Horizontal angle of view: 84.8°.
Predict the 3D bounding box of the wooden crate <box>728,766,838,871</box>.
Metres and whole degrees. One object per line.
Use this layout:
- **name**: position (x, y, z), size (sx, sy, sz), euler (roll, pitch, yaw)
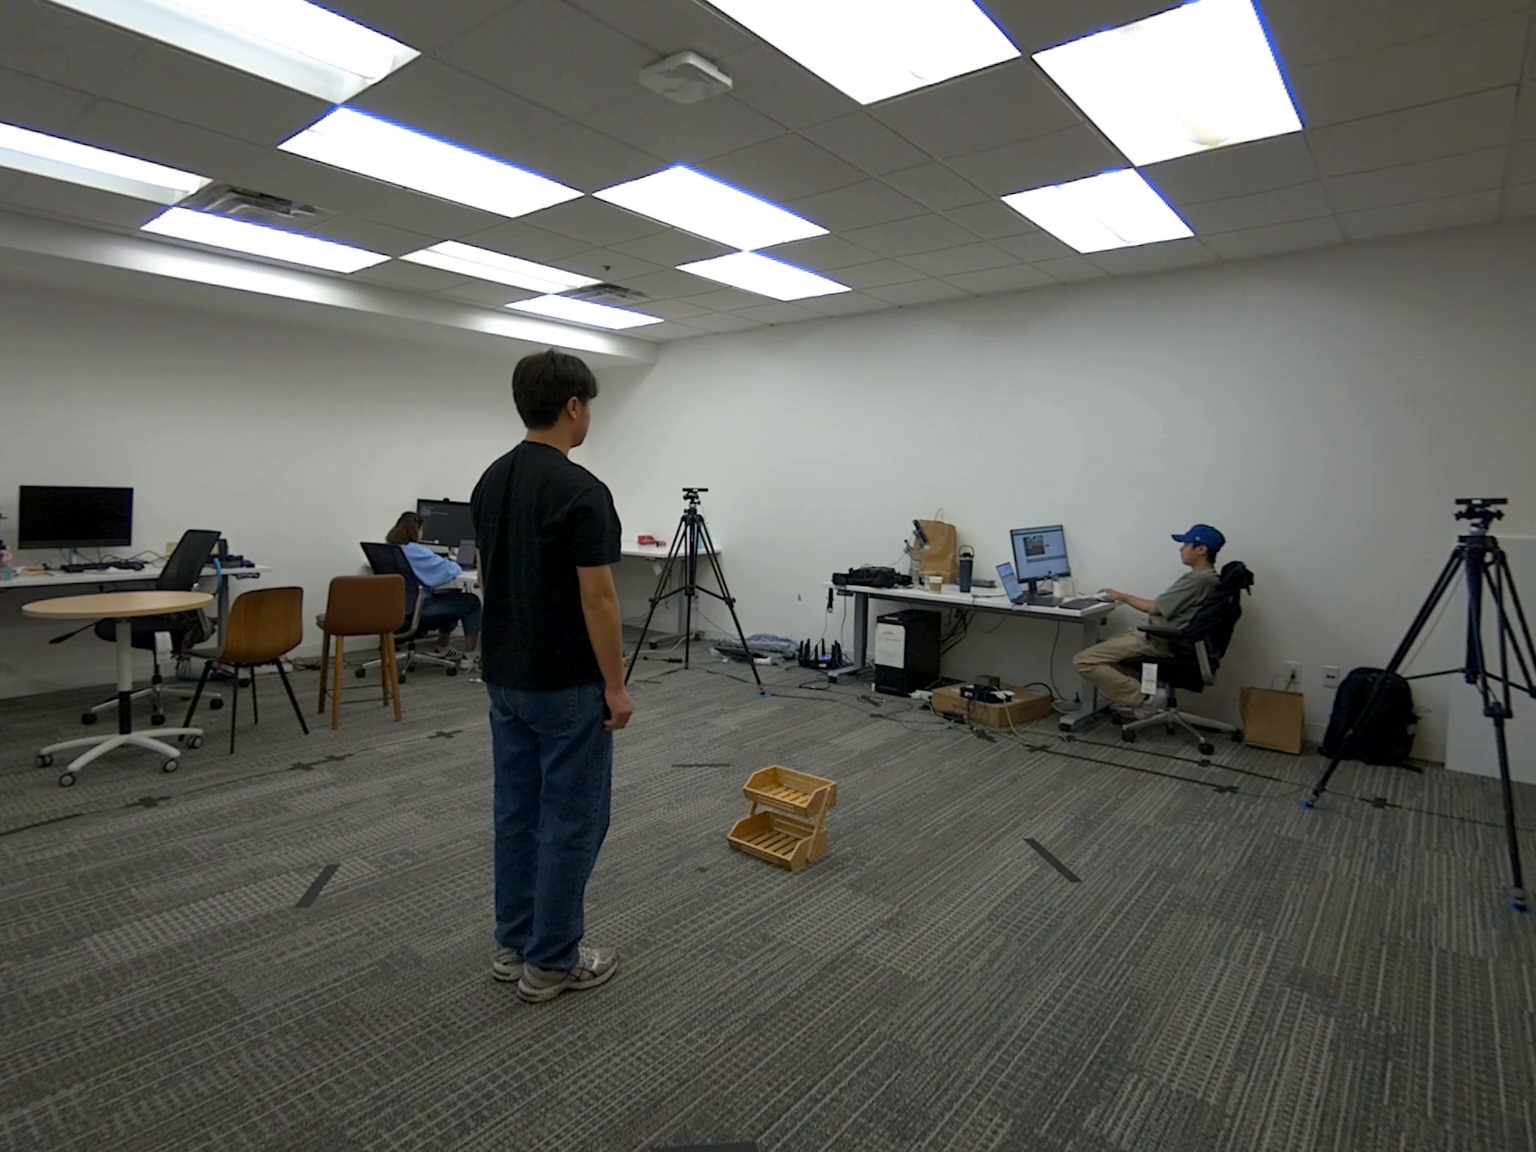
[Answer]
- **wooden crate**: position (0.045, 0.932, 3.306), size (0.335, 0.272, 0.293), euler (6, 5, 38)
